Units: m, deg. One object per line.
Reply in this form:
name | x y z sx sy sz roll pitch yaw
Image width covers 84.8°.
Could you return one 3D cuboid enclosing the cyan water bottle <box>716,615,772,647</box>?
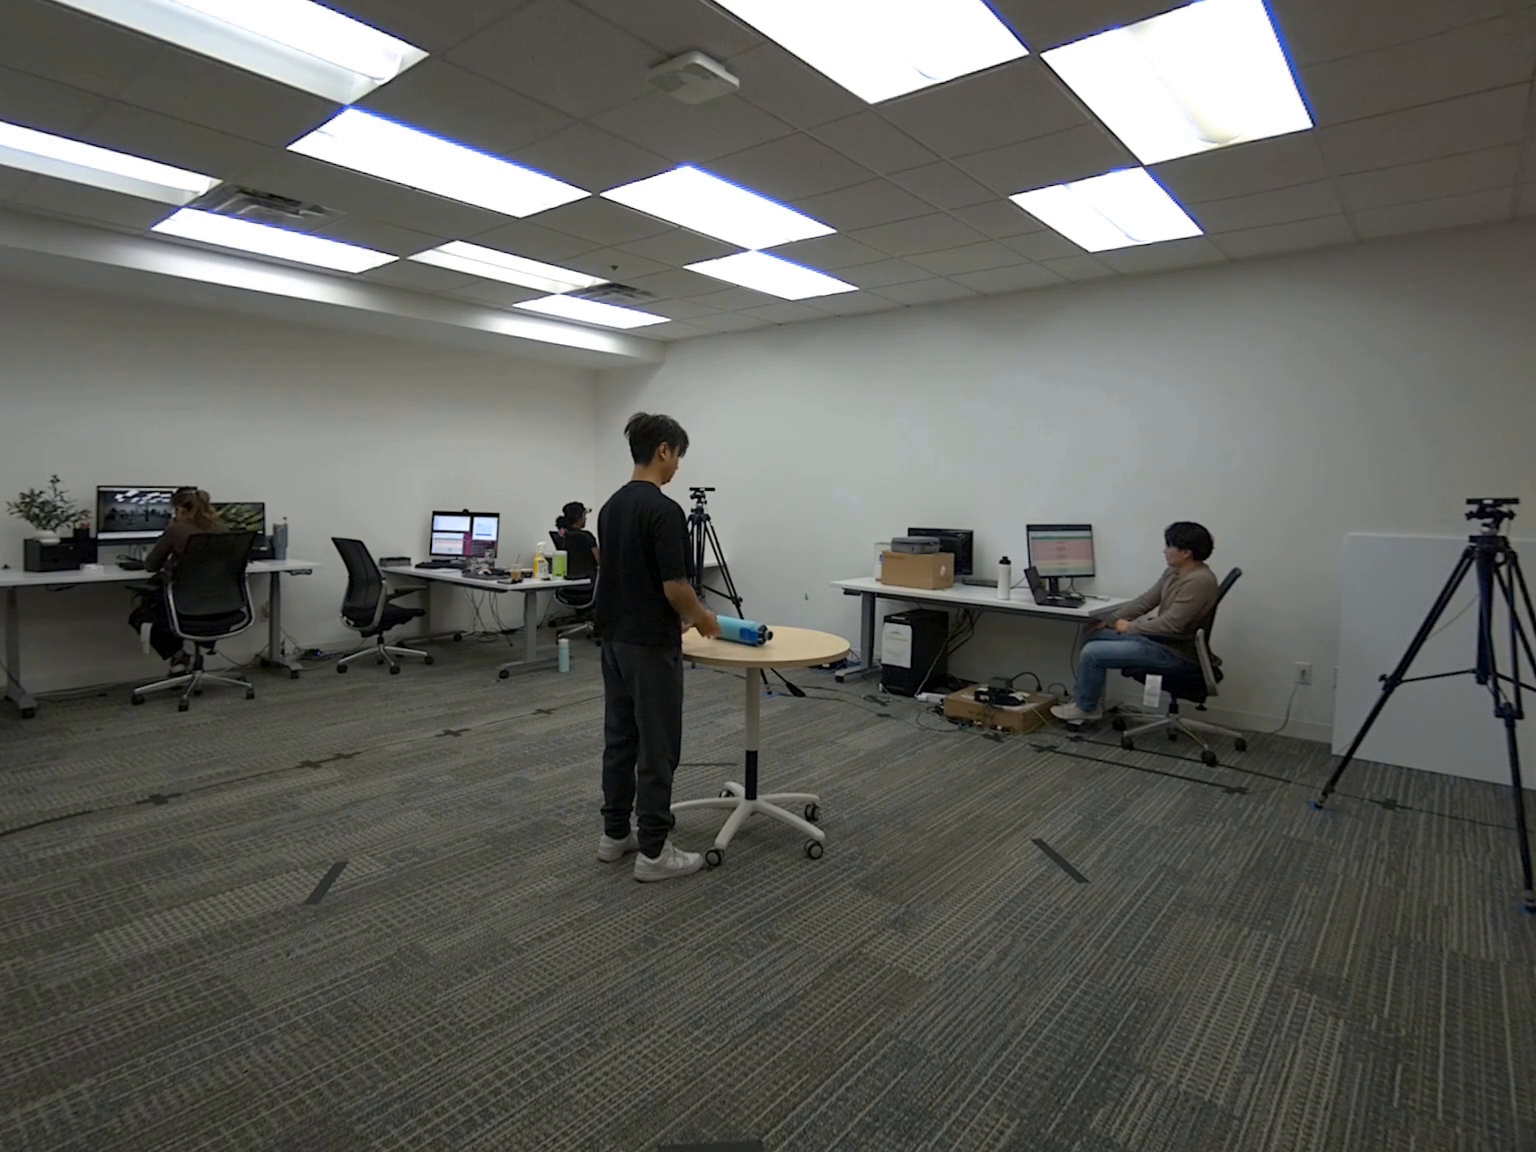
cyan water bottle | -0.121 0.215 3.377 0.293 0.092 0.089 8 8 42
